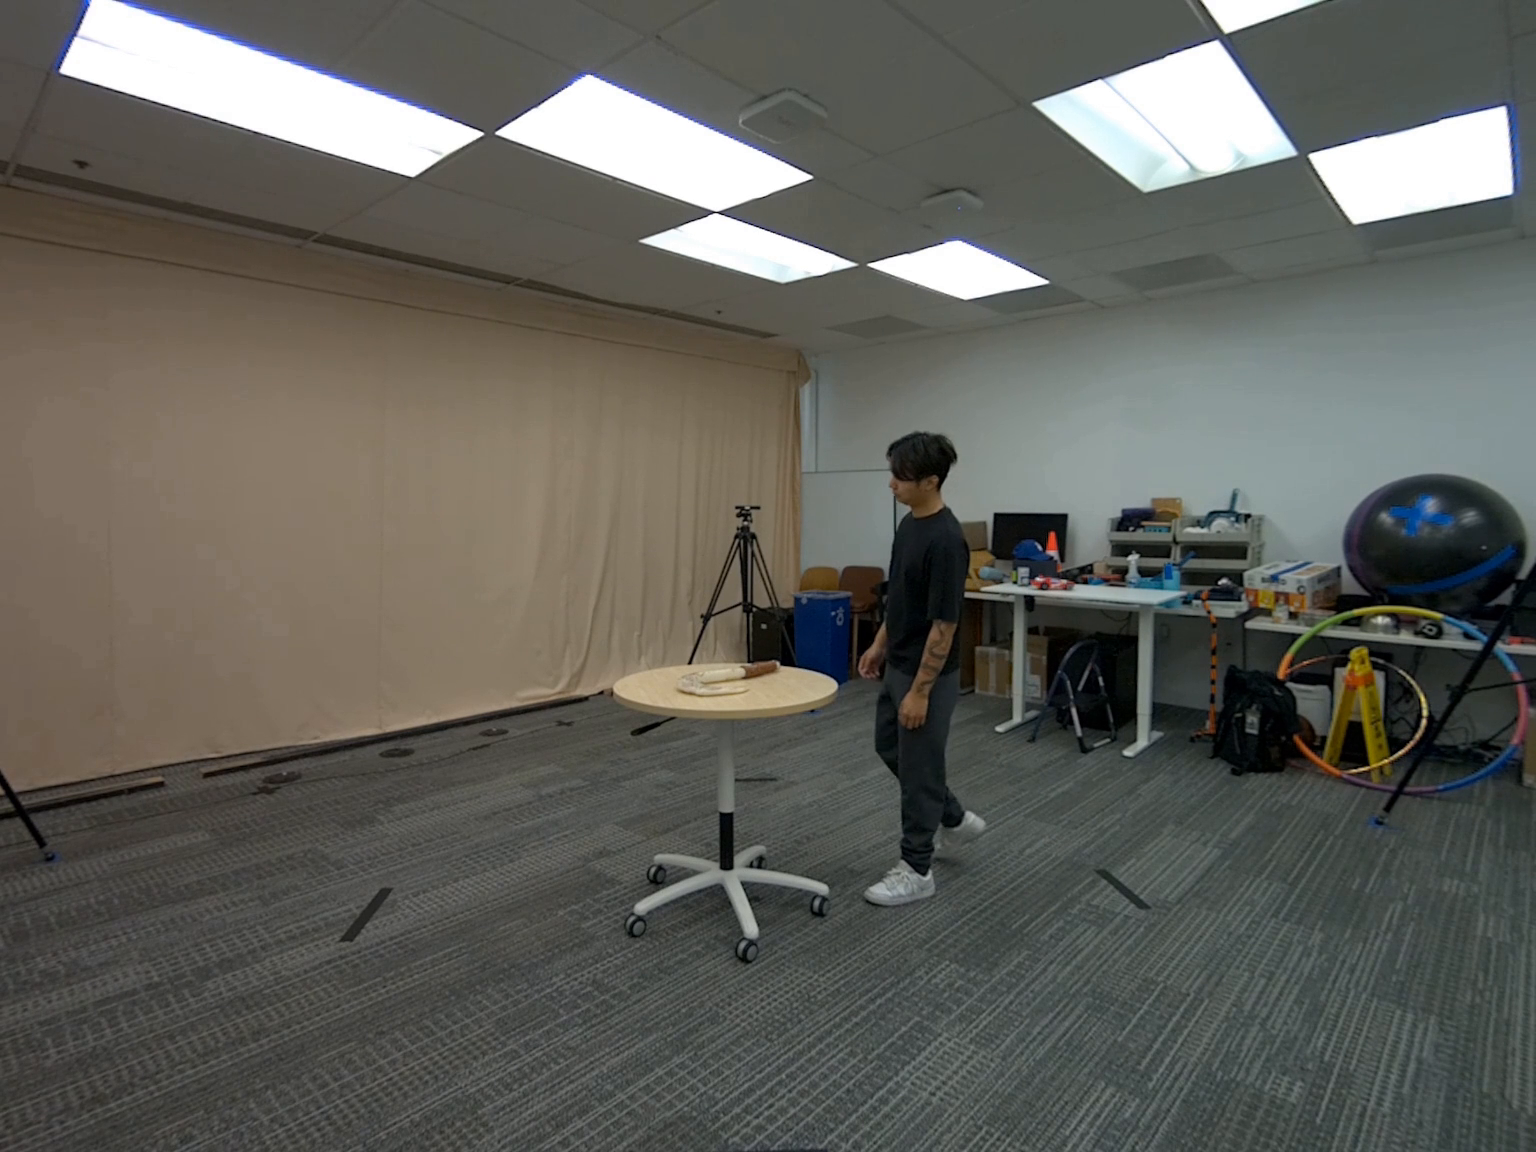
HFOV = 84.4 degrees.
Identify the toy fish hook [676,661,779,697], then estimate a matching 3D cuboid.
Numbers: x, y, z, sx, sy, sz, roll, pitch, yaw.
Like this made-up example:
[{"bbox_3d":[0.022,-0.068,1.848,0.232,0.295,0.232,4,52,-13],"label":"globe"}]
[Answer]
[{"bbox_3d":[-0.090,0.359,2.895,0.232,0.048,0.491,12,13,44],"label":"toy fish hook"}]
